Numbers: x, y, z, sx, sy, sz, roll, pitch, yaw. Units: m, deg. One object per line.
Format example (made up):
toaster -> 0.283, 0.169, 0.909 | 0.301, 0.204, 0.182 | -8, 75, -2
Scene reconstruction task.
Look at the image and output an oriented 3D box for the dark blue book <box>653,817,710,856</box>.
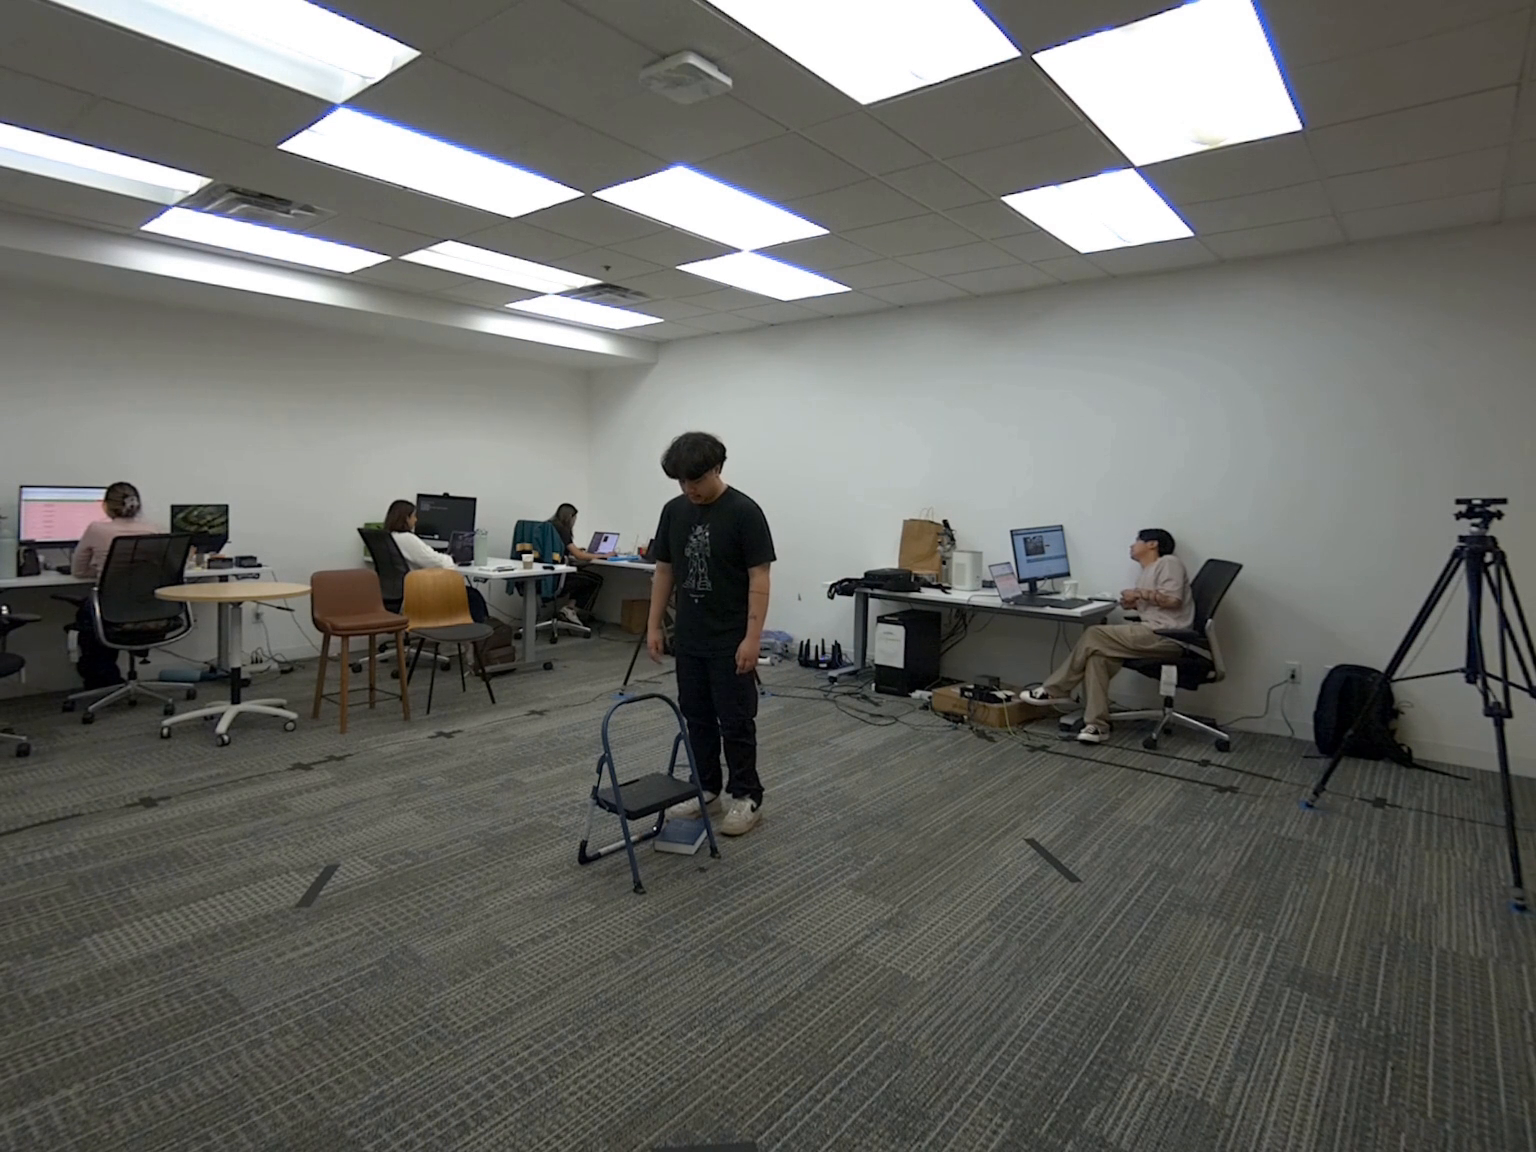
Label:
dark blue book -> -0.356, 1.027, 3.360 | 0.166, 0.045, 0.242 | 3, 5, 13
